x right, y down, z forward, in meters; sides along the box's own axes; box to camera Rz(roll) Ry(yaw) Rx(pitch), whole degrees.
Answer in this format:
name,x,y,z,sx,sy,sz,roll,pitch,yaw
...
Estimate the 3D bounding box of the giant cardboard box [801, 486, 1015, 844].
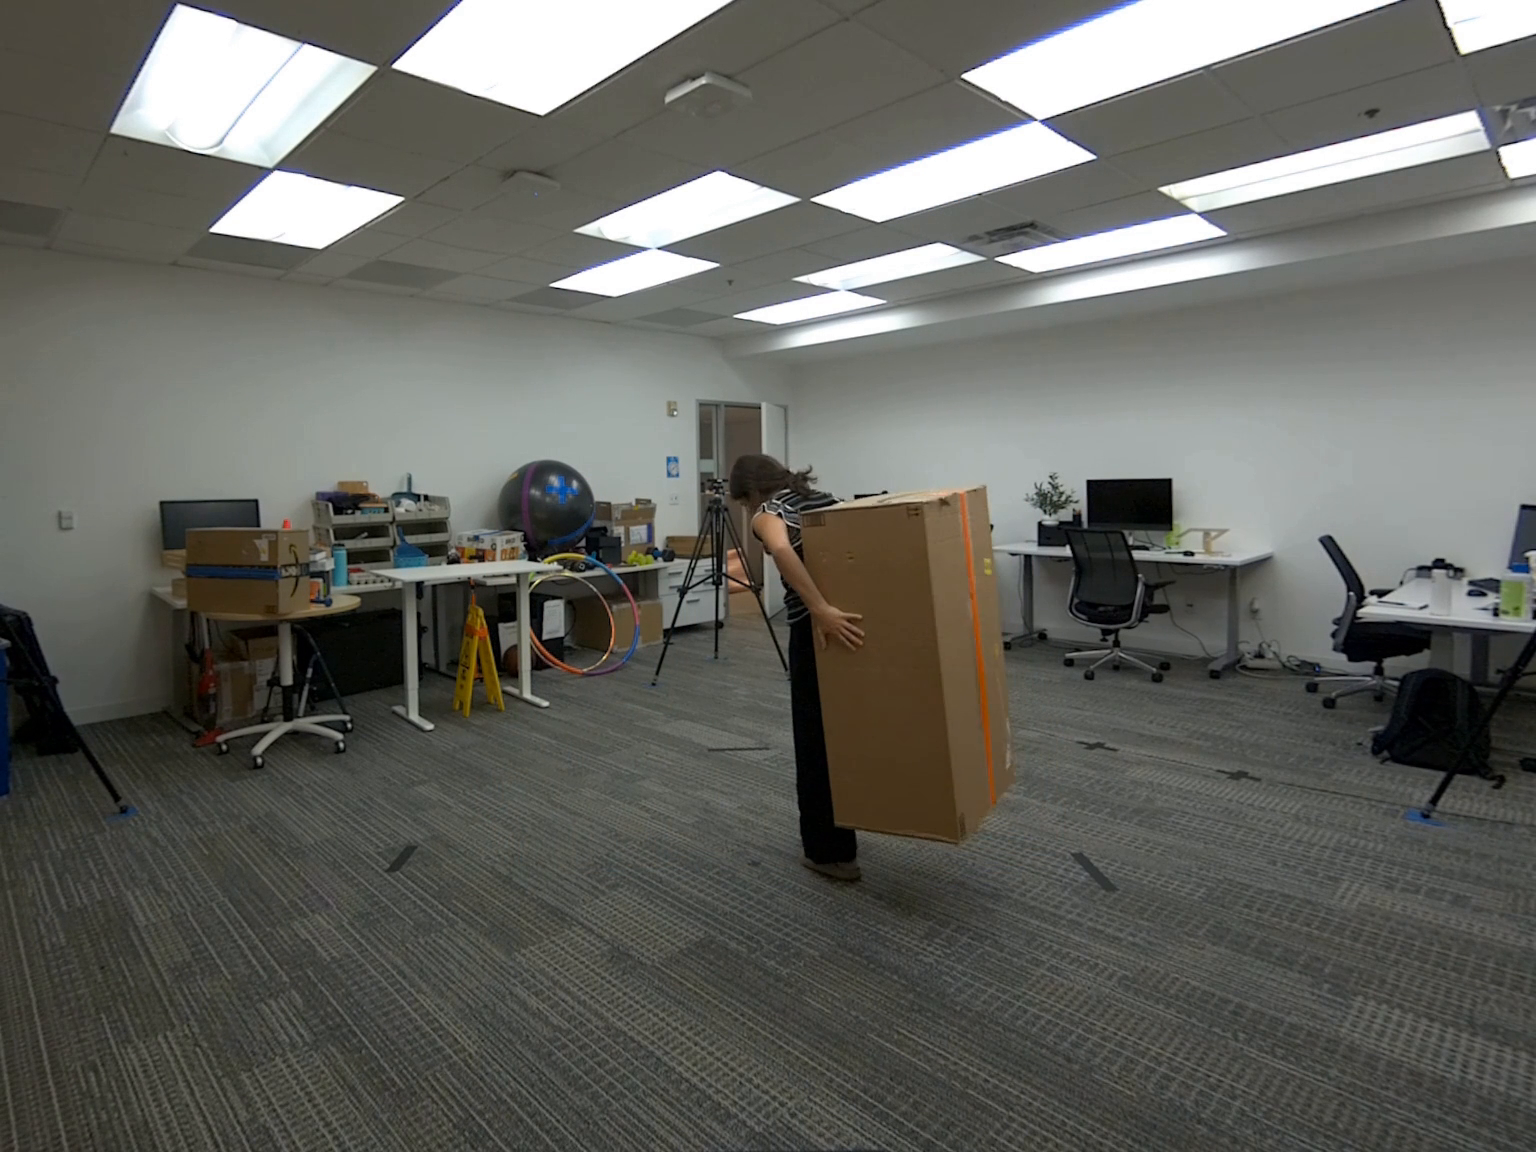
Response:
name,x,y,z,sx,sy,sz,roll,pitch,yaw
giant cardboard box,0.484,0.253,2.821,0.437,1.022,0.565,-4,5,34
